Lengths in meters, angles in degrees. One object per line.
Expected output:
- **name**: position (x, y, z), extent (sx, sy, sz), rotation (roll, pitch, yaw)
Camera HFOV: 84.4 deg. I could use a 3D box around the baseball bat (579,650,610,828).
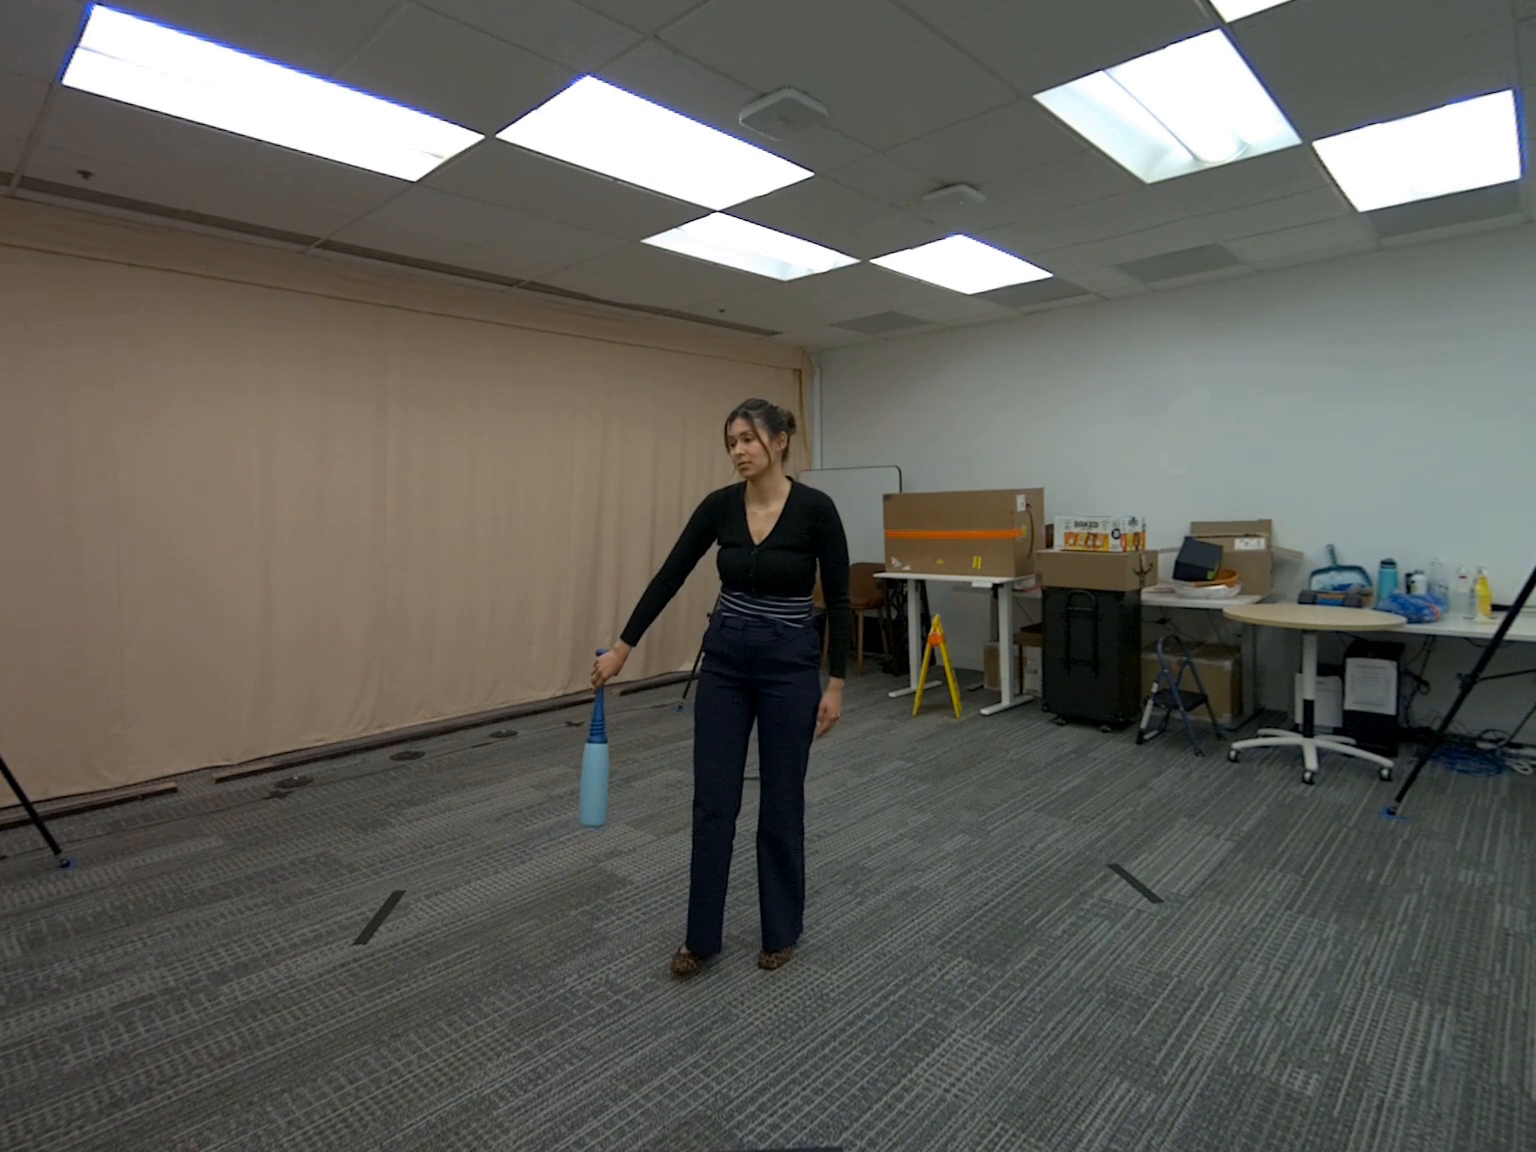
- **baseball bat**: position (-0.519, 0.513, 2.640), extent (0.089, 0.546, 0.088), rotation (1, -11, -2)
